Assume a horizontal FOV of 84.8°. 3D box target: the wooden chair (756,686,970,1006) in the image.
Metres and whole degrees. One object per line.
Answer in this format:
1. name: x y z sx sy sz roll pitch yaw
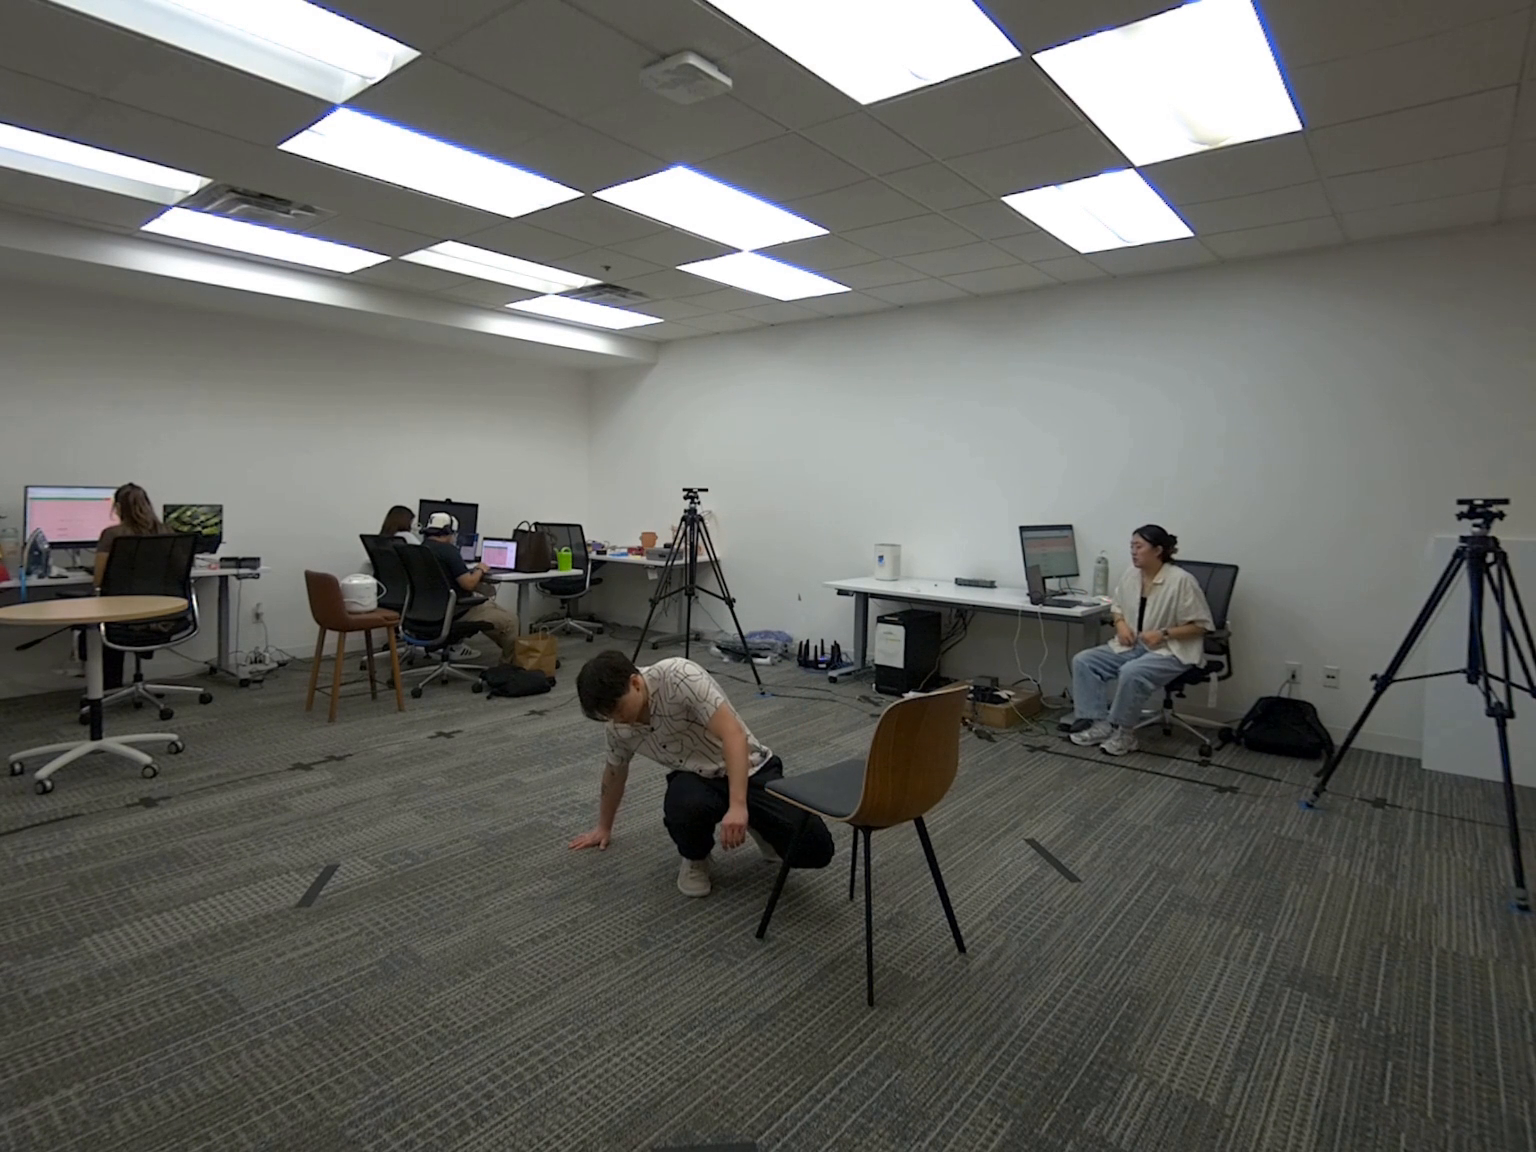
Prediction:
1. wooden chair: 0.281 0.706 2.584 0.463 0.872 0.542 -2 9 -43
